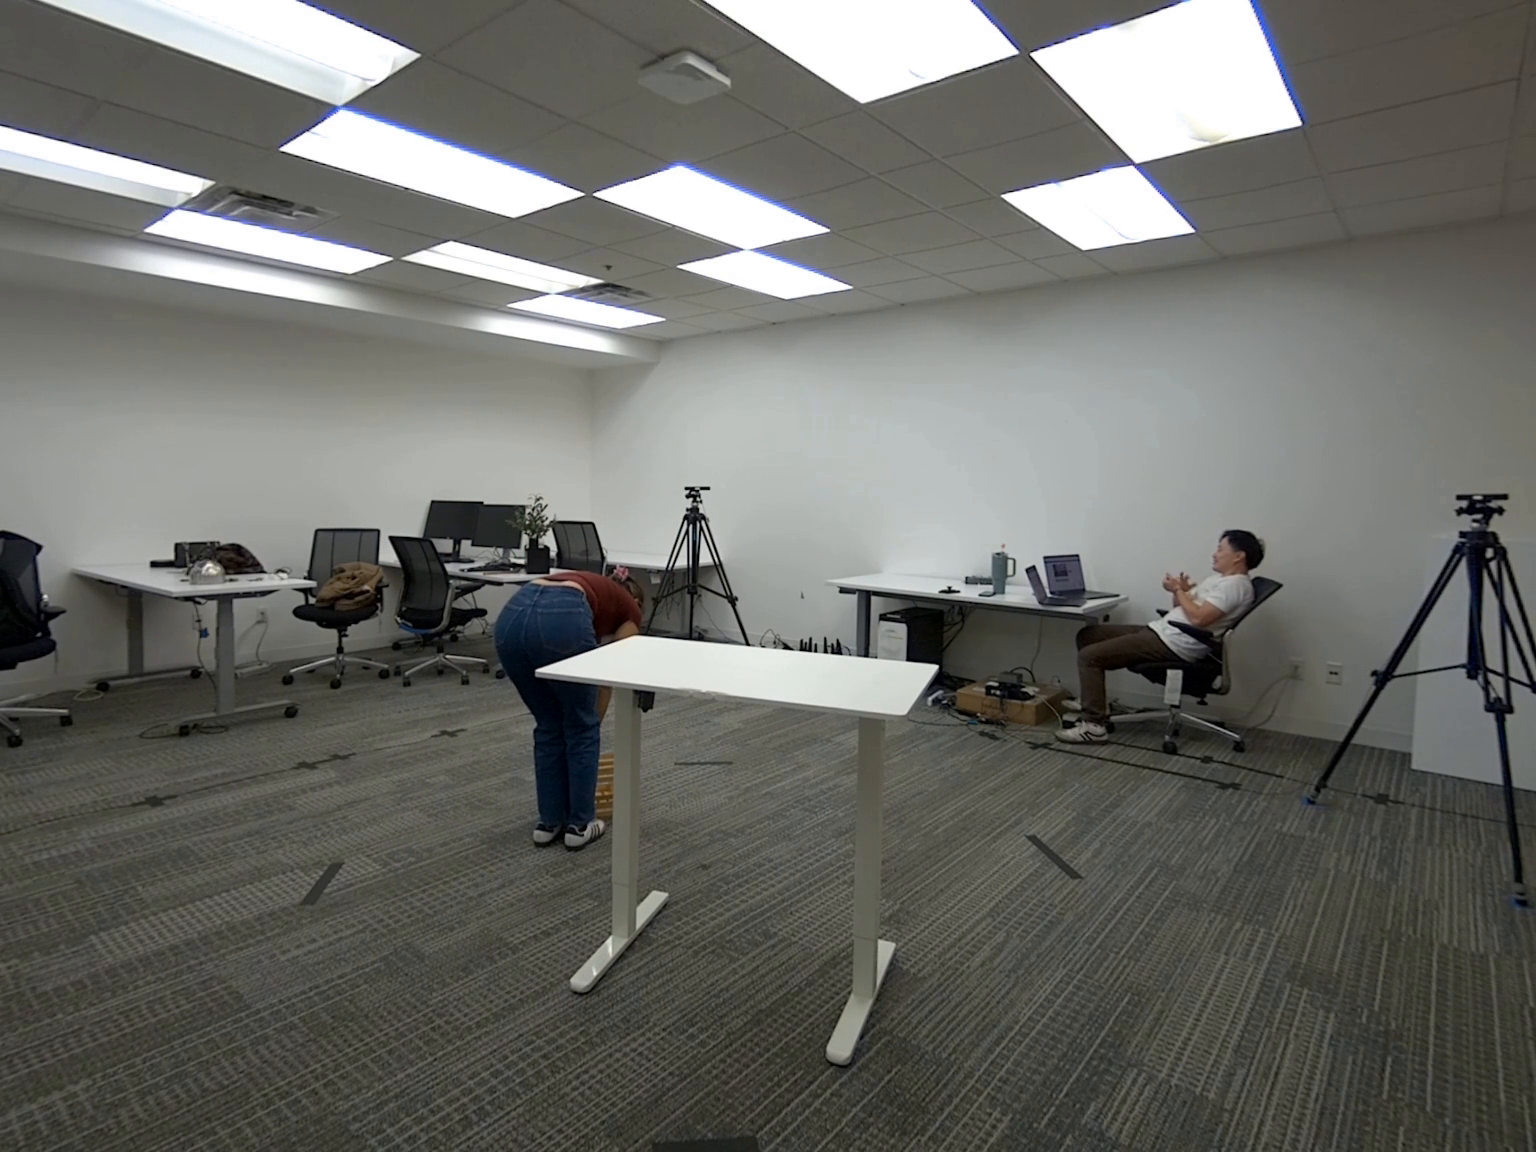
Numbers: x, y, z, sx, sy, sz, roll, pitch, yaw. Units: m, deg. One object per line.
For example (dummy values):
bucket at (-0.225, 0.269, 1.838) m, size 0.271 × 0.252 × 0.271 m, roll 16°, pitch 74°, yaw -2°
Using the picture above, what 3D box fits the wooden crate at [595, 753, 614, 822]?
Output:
wooden crate at (-0.794, 0.858, 3.638) m, size 0.317 × 0.272 × 0.310 m, roll 0°, pitch 7°, yaw -23°
